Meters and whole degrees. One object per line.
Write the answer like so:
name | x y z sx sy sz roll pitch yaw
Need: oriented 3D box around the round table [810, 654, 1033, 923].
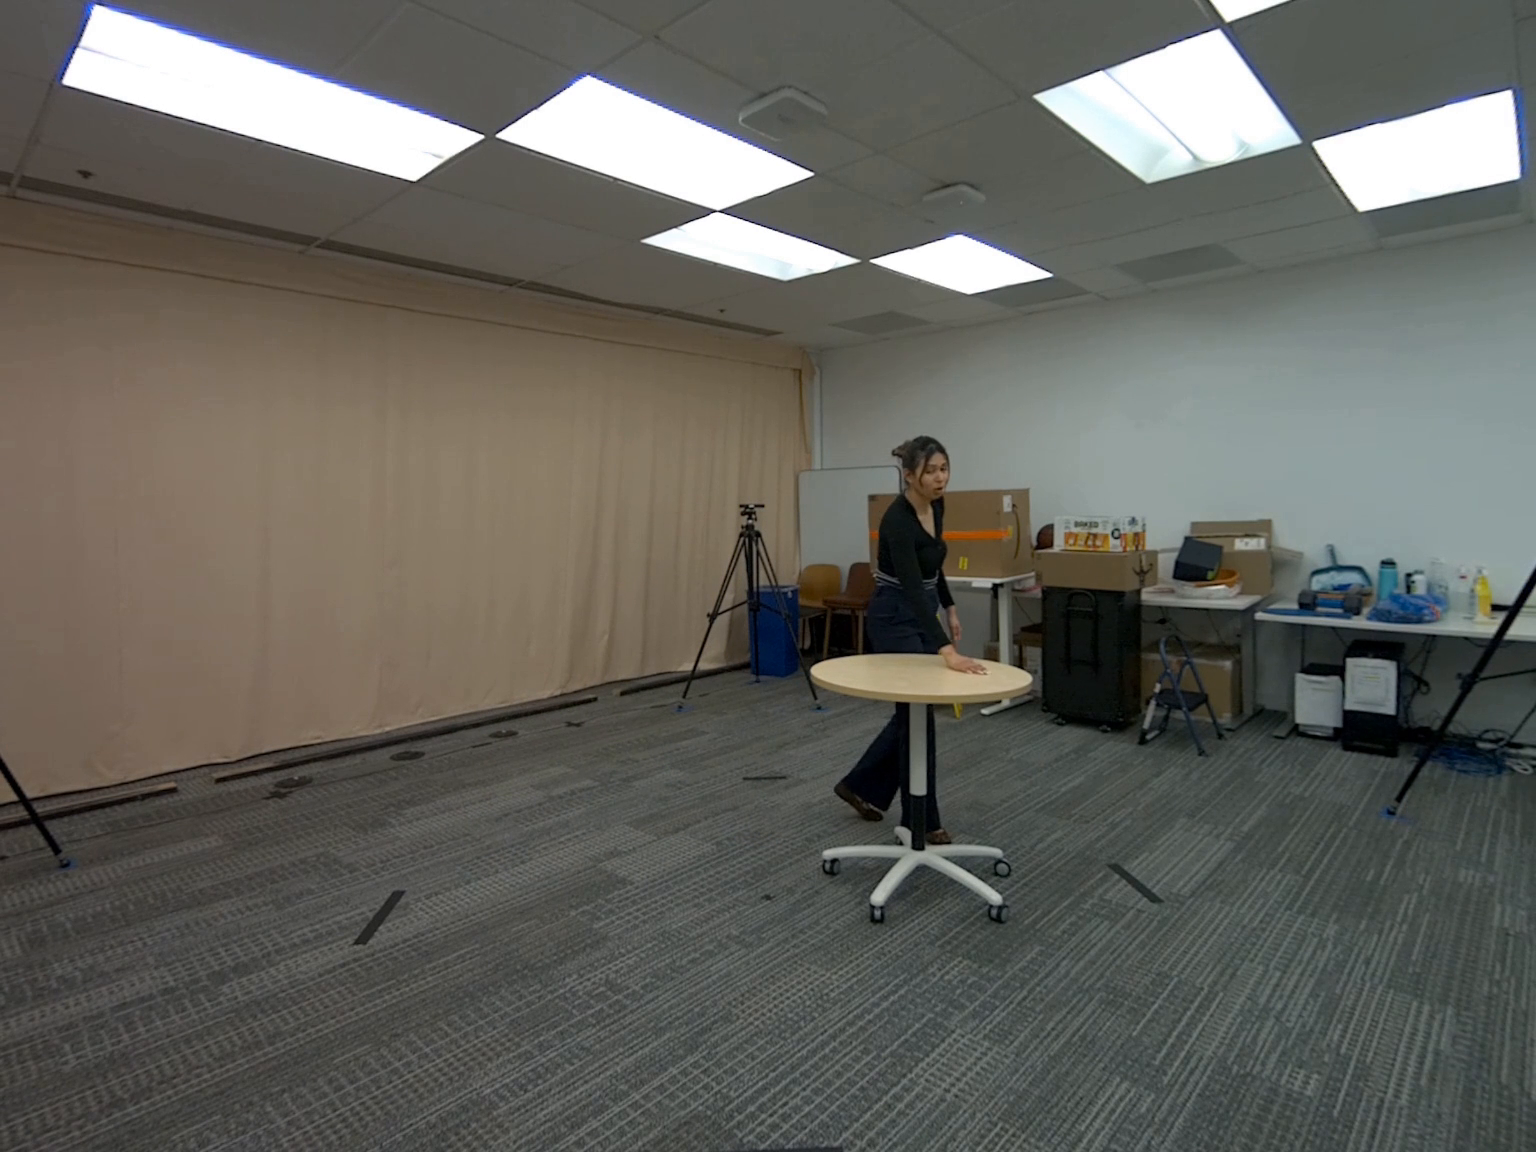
round table | 0.543 0.738 3.024 0.763 0.792 0.766 -1 3 -2
